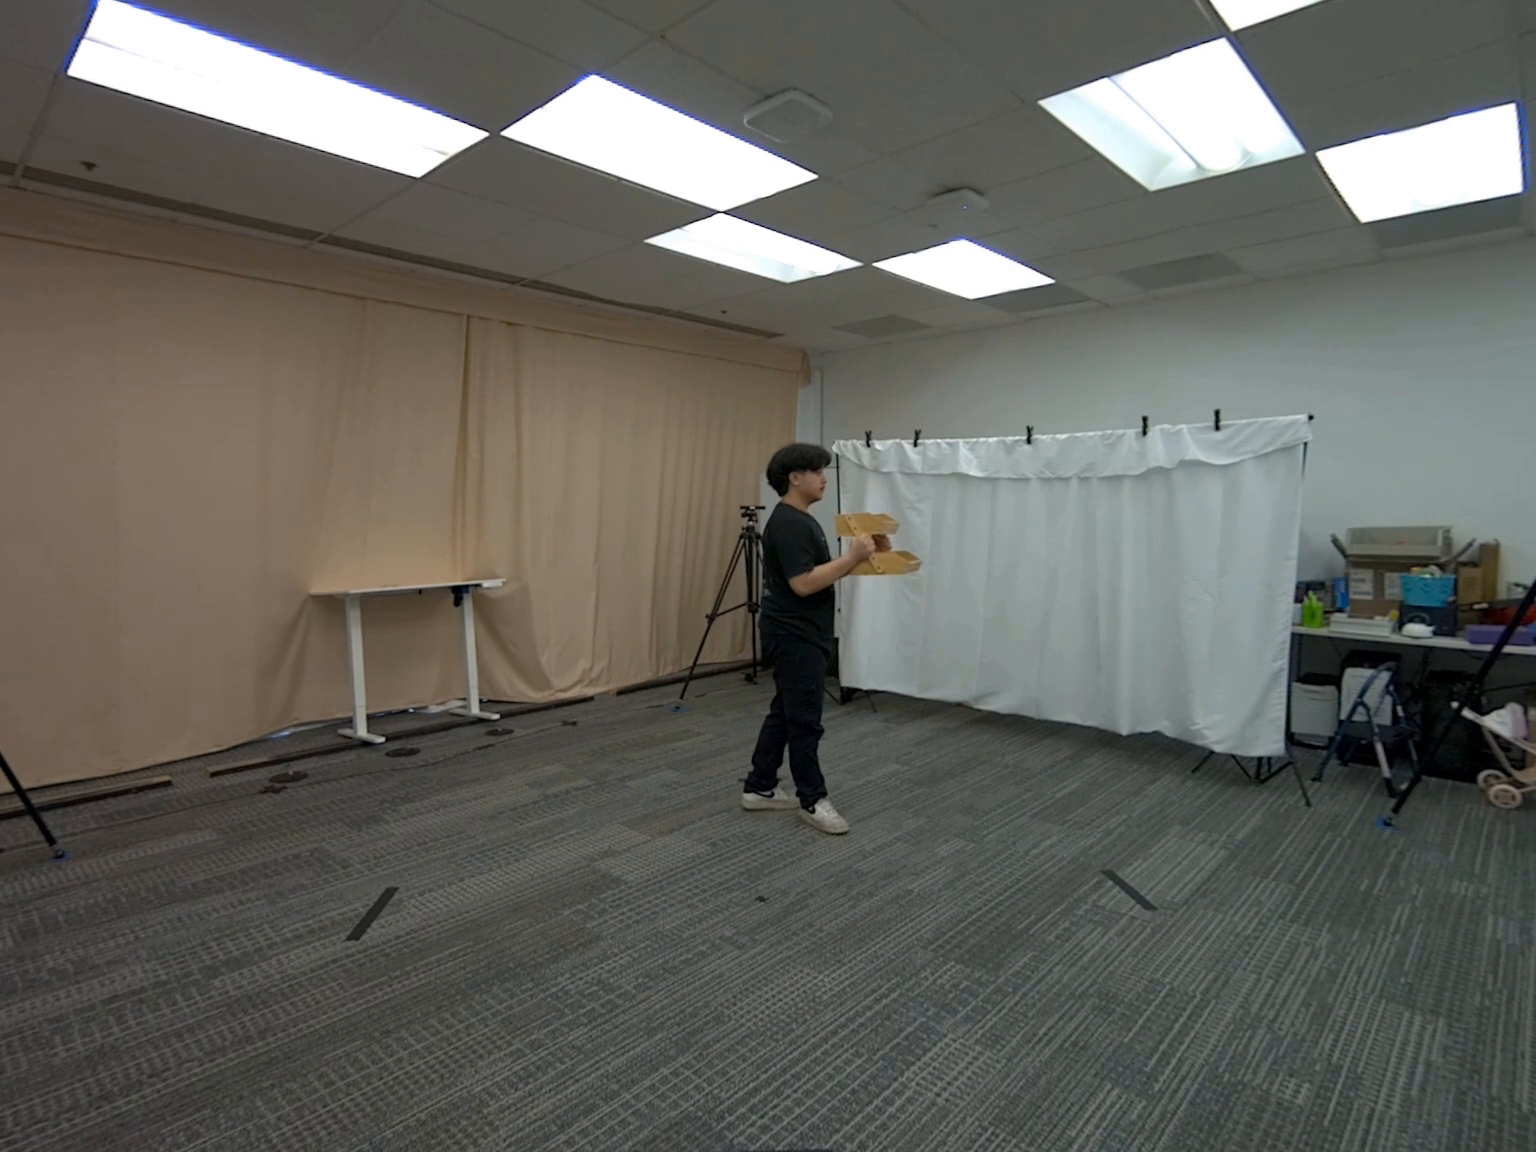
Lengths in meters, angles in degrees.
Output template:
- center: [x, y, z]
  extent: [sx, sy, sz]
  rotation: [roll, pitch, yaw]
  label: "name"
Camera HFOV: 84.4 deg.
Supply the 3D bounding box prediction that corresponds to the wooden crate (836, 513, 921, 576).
- center: [0.488, -0.147, 3.653]
  extent: [0.309, 0.273, 0.317]
  rotation: [-4, 0, 22]
  label: "wooden crate"
